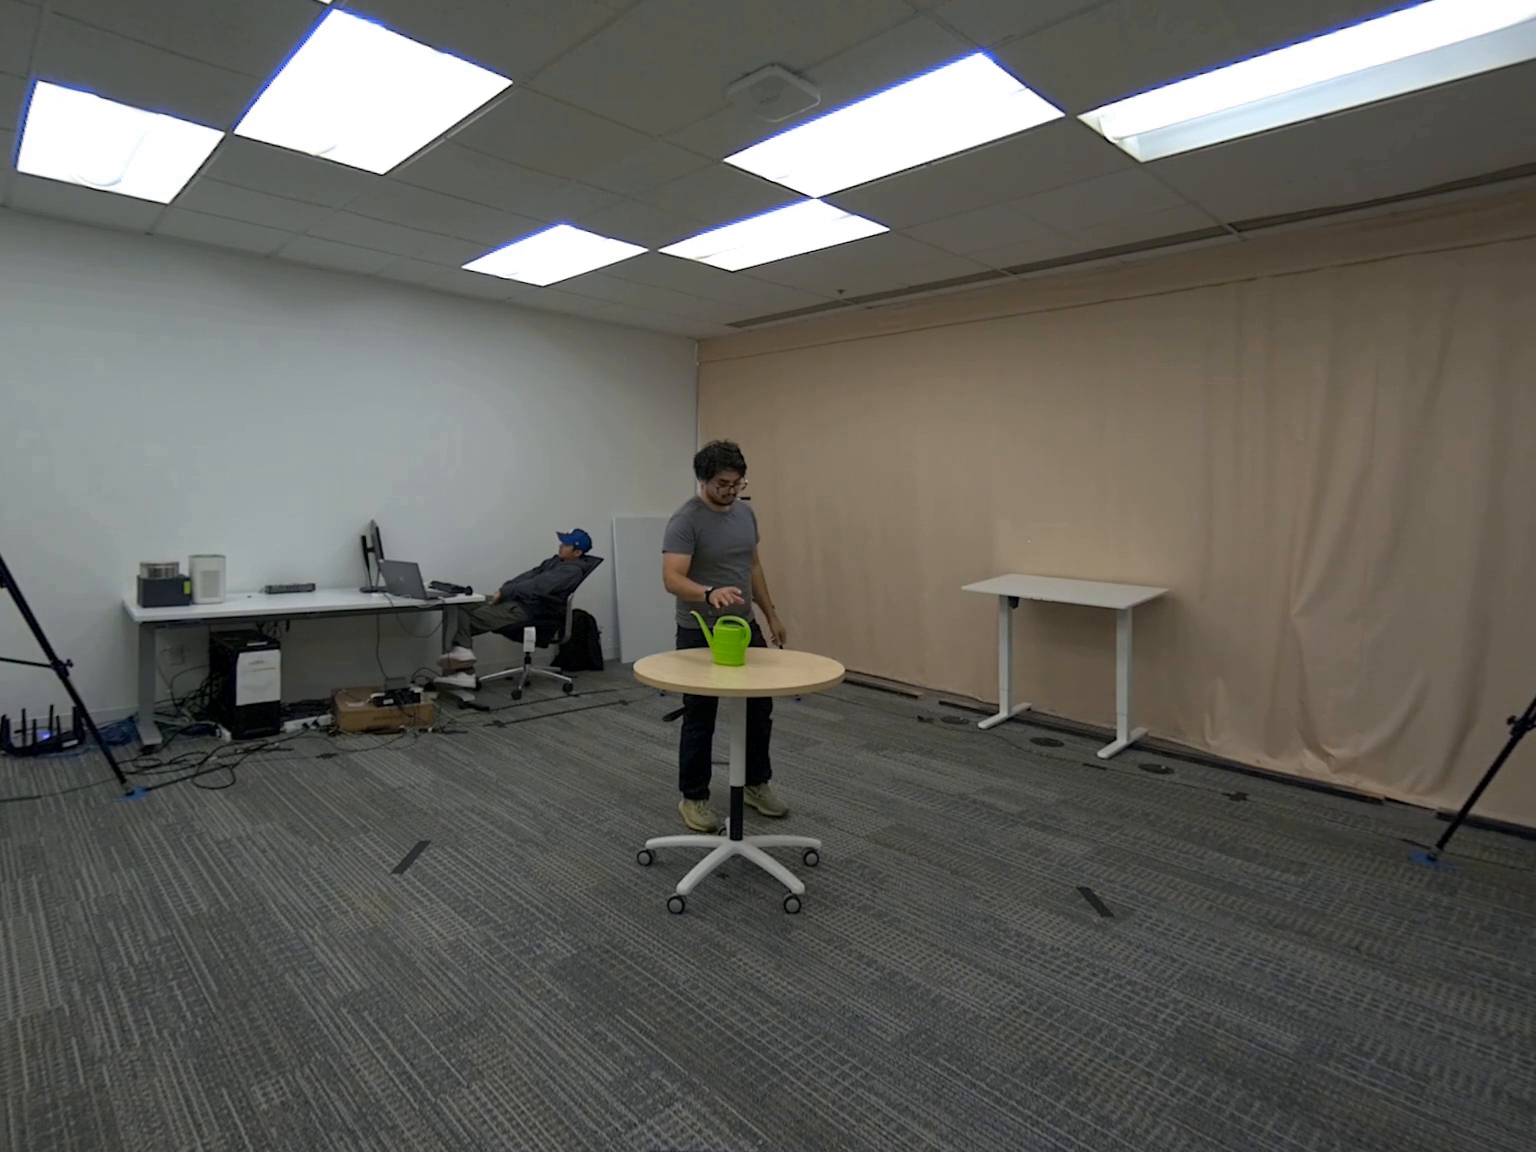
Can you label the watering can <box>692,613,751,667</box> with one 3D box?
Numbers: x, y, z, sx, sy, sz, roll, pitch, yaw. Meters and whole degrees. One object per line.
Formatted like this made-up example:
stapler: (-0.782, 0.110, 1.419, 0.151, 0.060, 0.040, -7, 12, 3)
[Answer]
watering can: (-0.184, 0.233, 3.135, 0.096, 0.176, 0.285, -1, 5, -39)
